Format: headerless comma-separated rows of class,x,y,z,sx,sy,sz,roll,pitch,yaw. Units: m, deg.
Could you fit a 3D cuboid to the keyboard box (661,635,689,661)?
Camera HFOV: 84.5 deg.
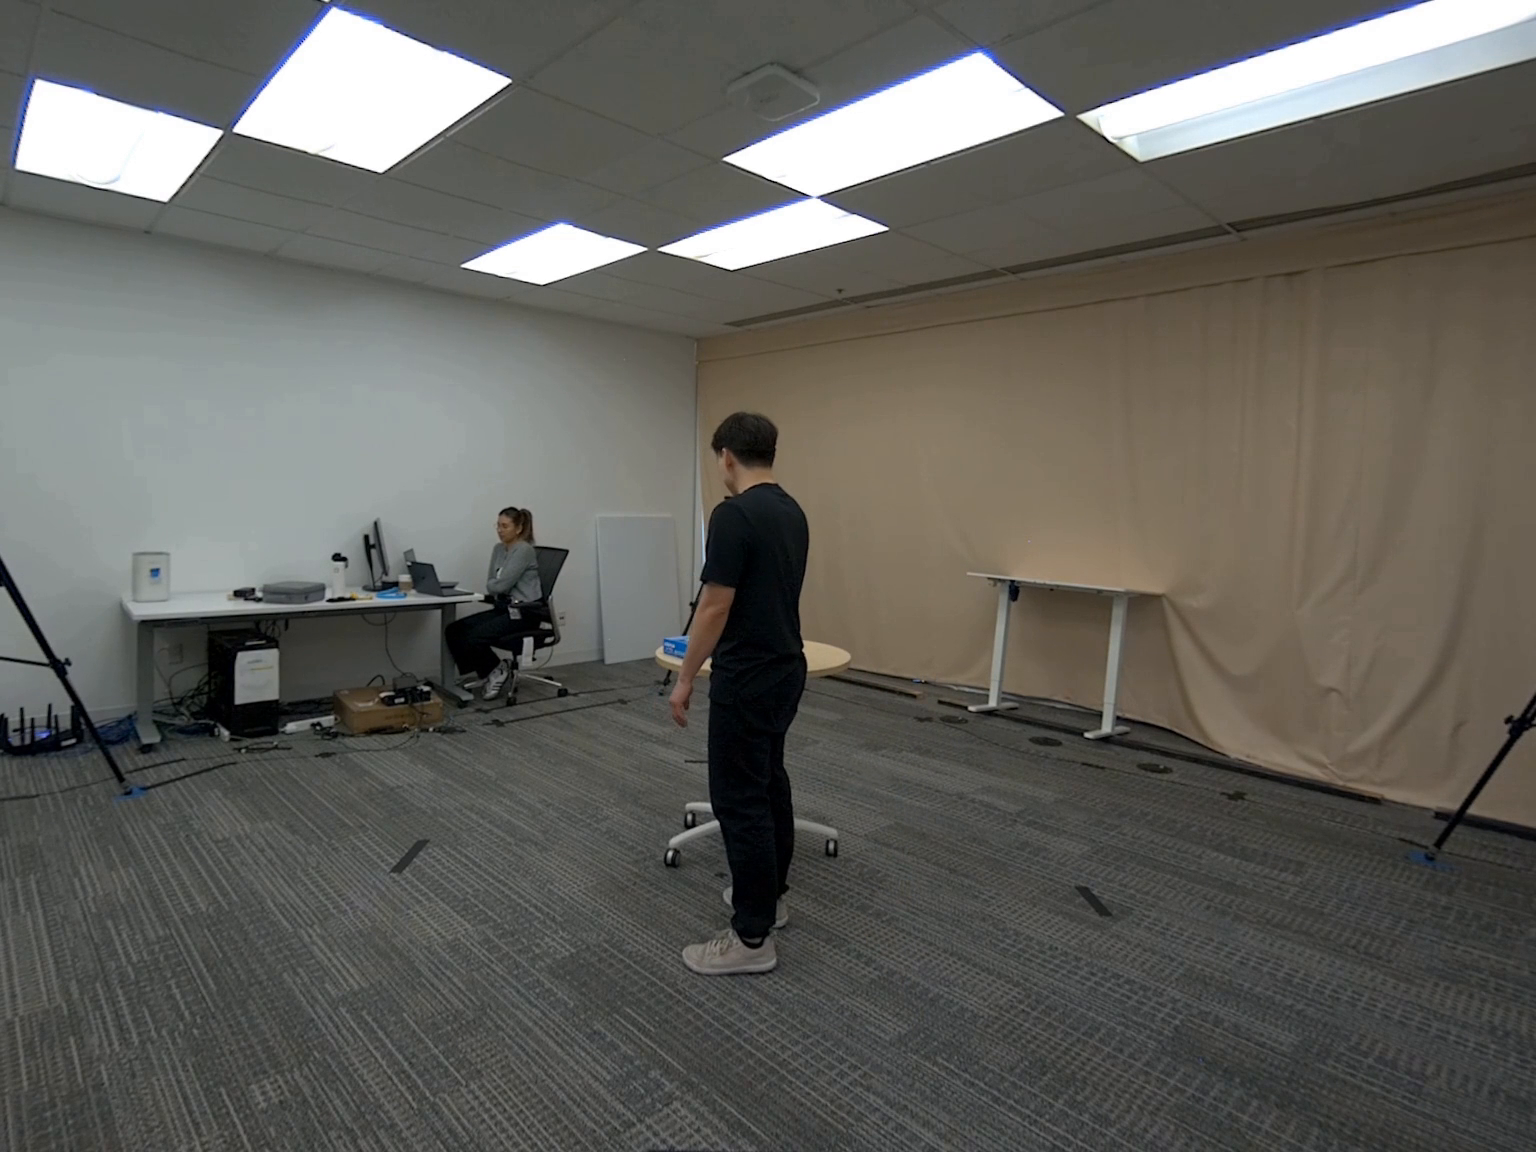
keyboard box,-0.189,0.271,3.341,0.427,0.059,0.180,-3,6,-38
